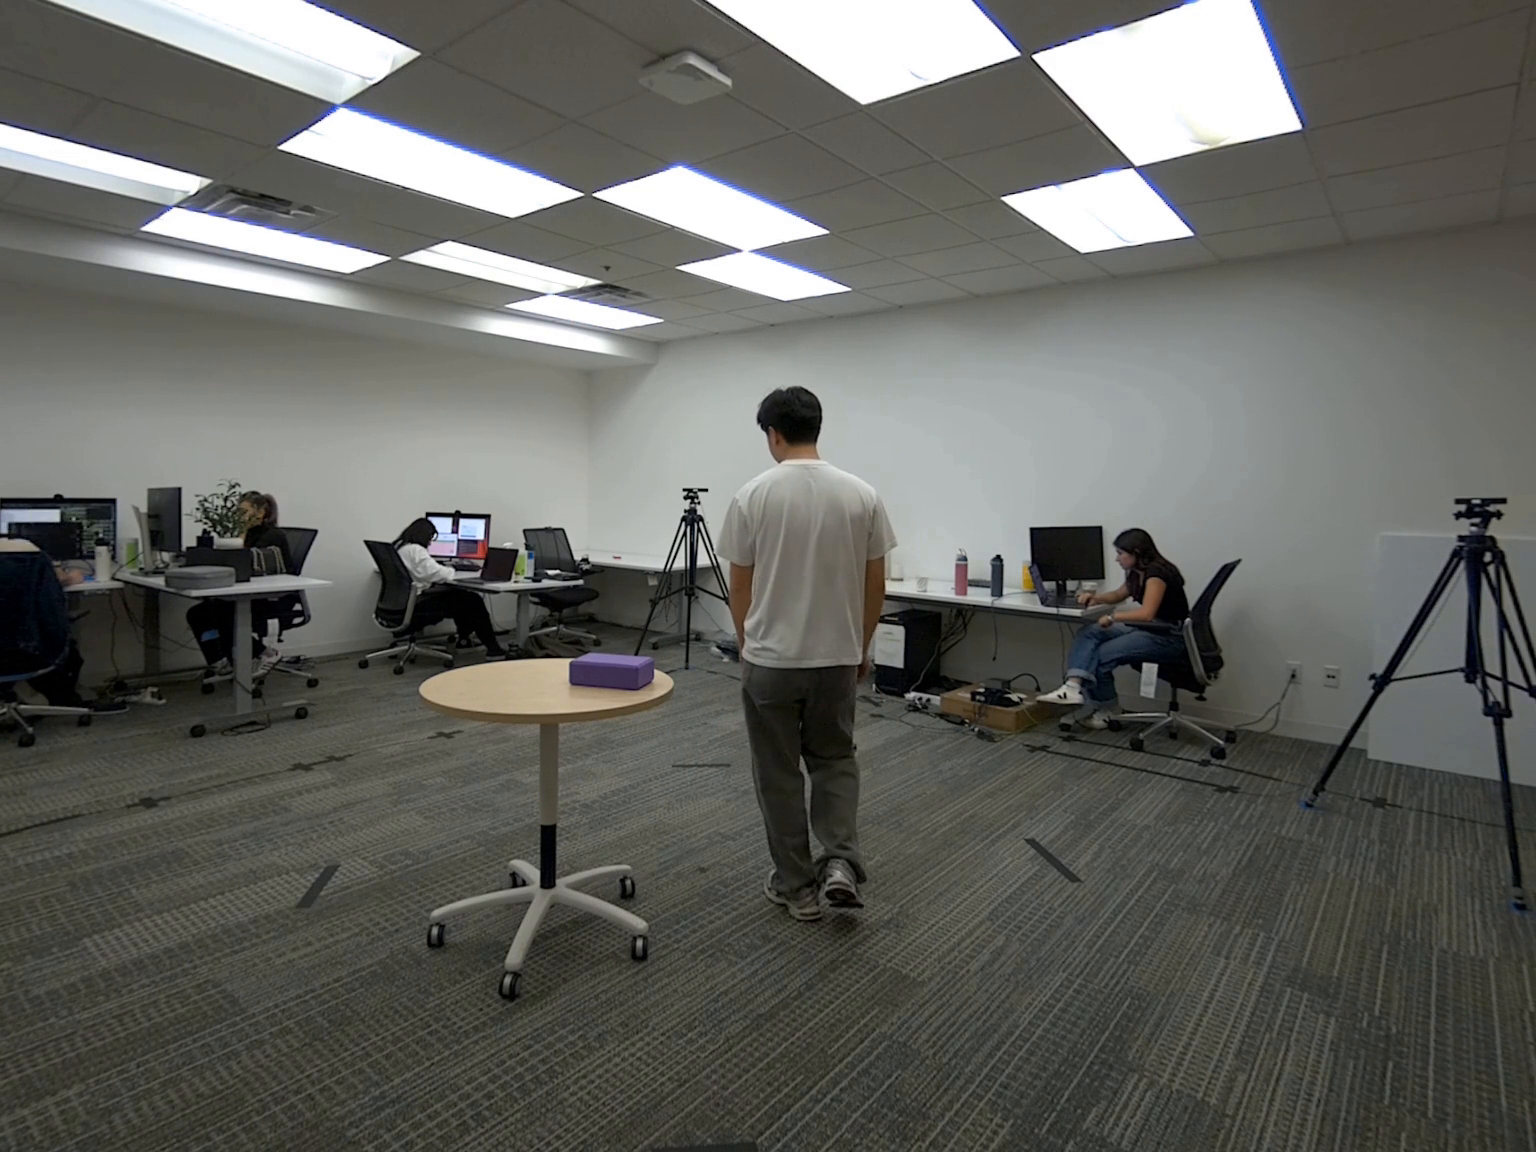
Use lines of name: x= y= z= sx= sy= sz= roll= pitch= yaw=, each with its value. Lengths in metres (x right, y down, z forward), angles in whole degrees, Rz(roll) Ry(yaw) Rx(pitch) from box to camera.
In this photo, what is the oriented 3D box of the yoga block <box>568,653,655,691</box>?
yoga block: x=-0.490 y=0.288 z=2.638 sx=0.233 sy=0.076 sz=0.147 roll=2 pitch=5 yaw=14
